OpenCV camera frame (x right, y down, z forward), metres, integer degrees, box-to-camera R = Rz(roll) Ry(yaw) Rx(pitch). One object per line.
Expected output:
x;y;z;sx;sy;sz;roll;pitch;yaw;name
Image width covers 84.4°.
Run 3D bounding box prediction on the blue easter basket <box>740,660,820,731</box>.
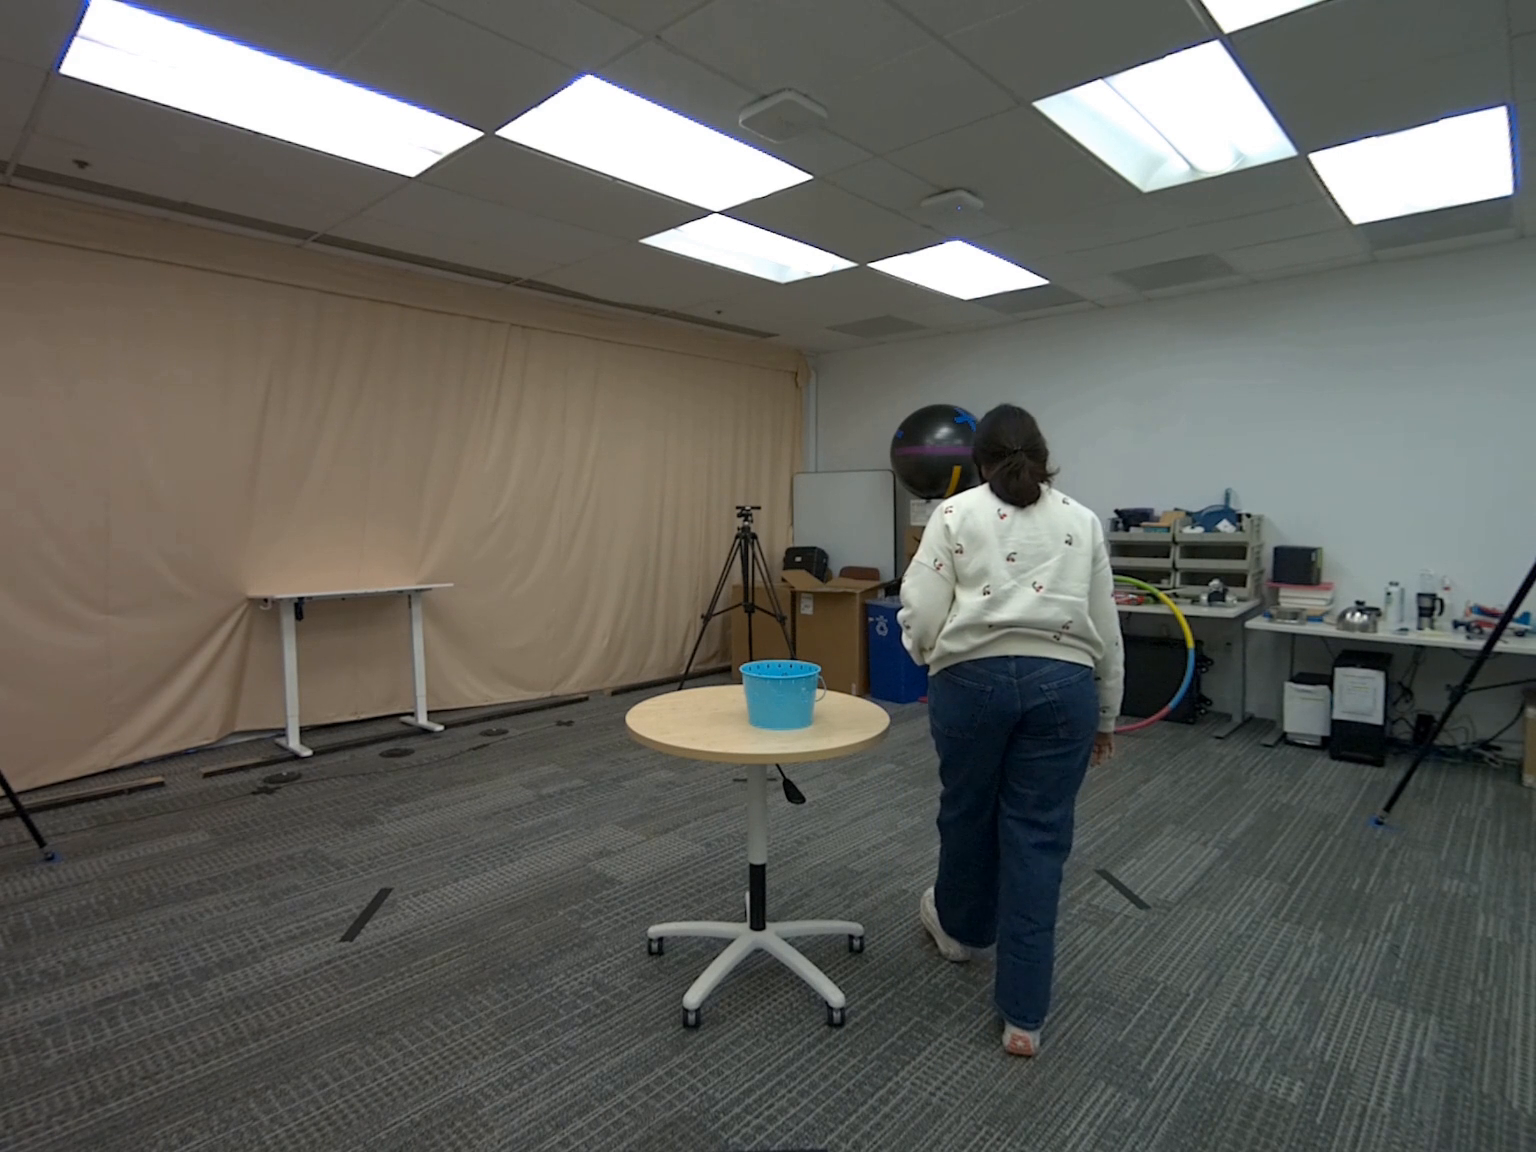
0.053;0.343;2.371;0.243;0.155;0.245;0;6;-2;blue easter basket
